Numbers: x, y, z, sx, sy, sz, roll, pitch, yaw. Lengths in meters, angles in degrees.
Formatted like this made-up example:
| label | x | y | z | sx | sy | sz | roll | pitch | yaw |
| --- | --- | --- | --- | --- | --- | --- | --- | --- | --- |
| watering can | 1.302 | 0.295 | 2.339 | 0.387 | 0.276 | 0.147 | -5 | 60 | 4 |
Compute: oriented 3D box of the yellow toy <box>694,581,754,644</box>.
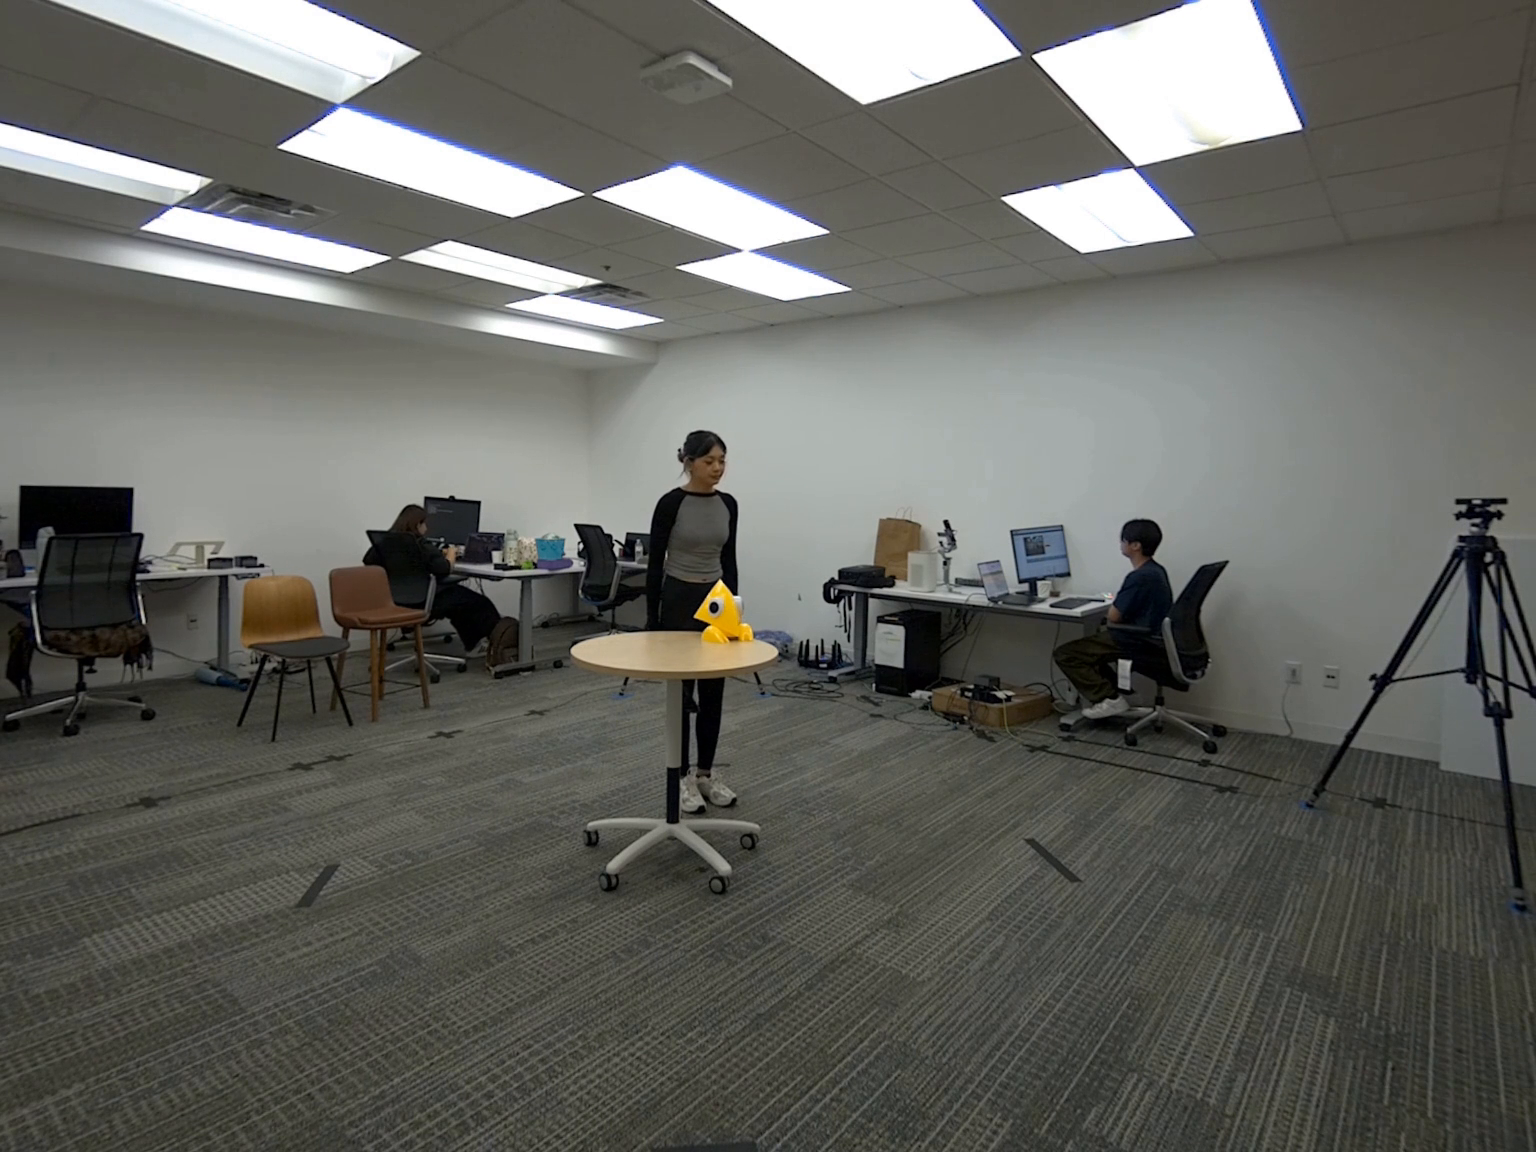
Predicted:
| label | x | y | z | sx | sy | sz | roll | pitch | yaw |
| --- | --- | --- | --- | --- | --- | --- | --- | --- | --- |
| yellow toy | -0.177 | 0.131 | 3.390 | 0.199 | 0.230 | 0.199 | -2 | 6 | -30 |
